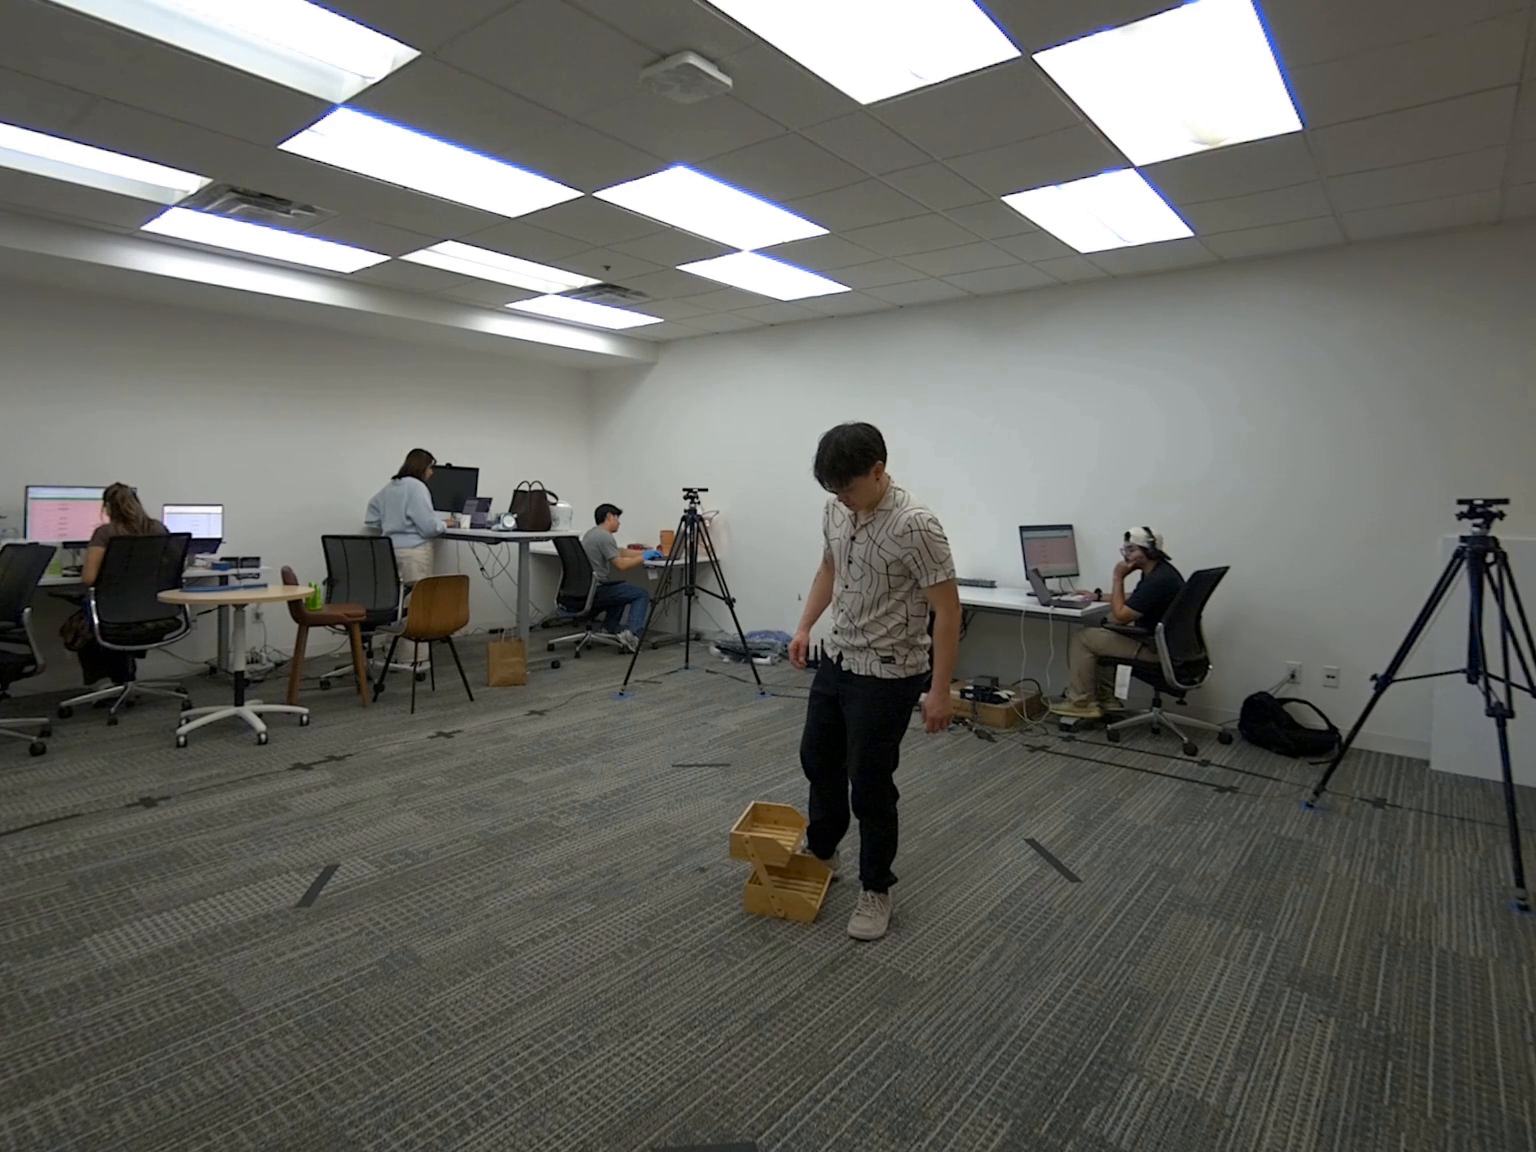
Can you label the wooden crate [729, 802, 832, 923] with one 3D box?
[{"bbox_3d":[0.043,0.964,2.904,0.307,0.272,0.320,2,5,15],"label":"wooden crate"}]
